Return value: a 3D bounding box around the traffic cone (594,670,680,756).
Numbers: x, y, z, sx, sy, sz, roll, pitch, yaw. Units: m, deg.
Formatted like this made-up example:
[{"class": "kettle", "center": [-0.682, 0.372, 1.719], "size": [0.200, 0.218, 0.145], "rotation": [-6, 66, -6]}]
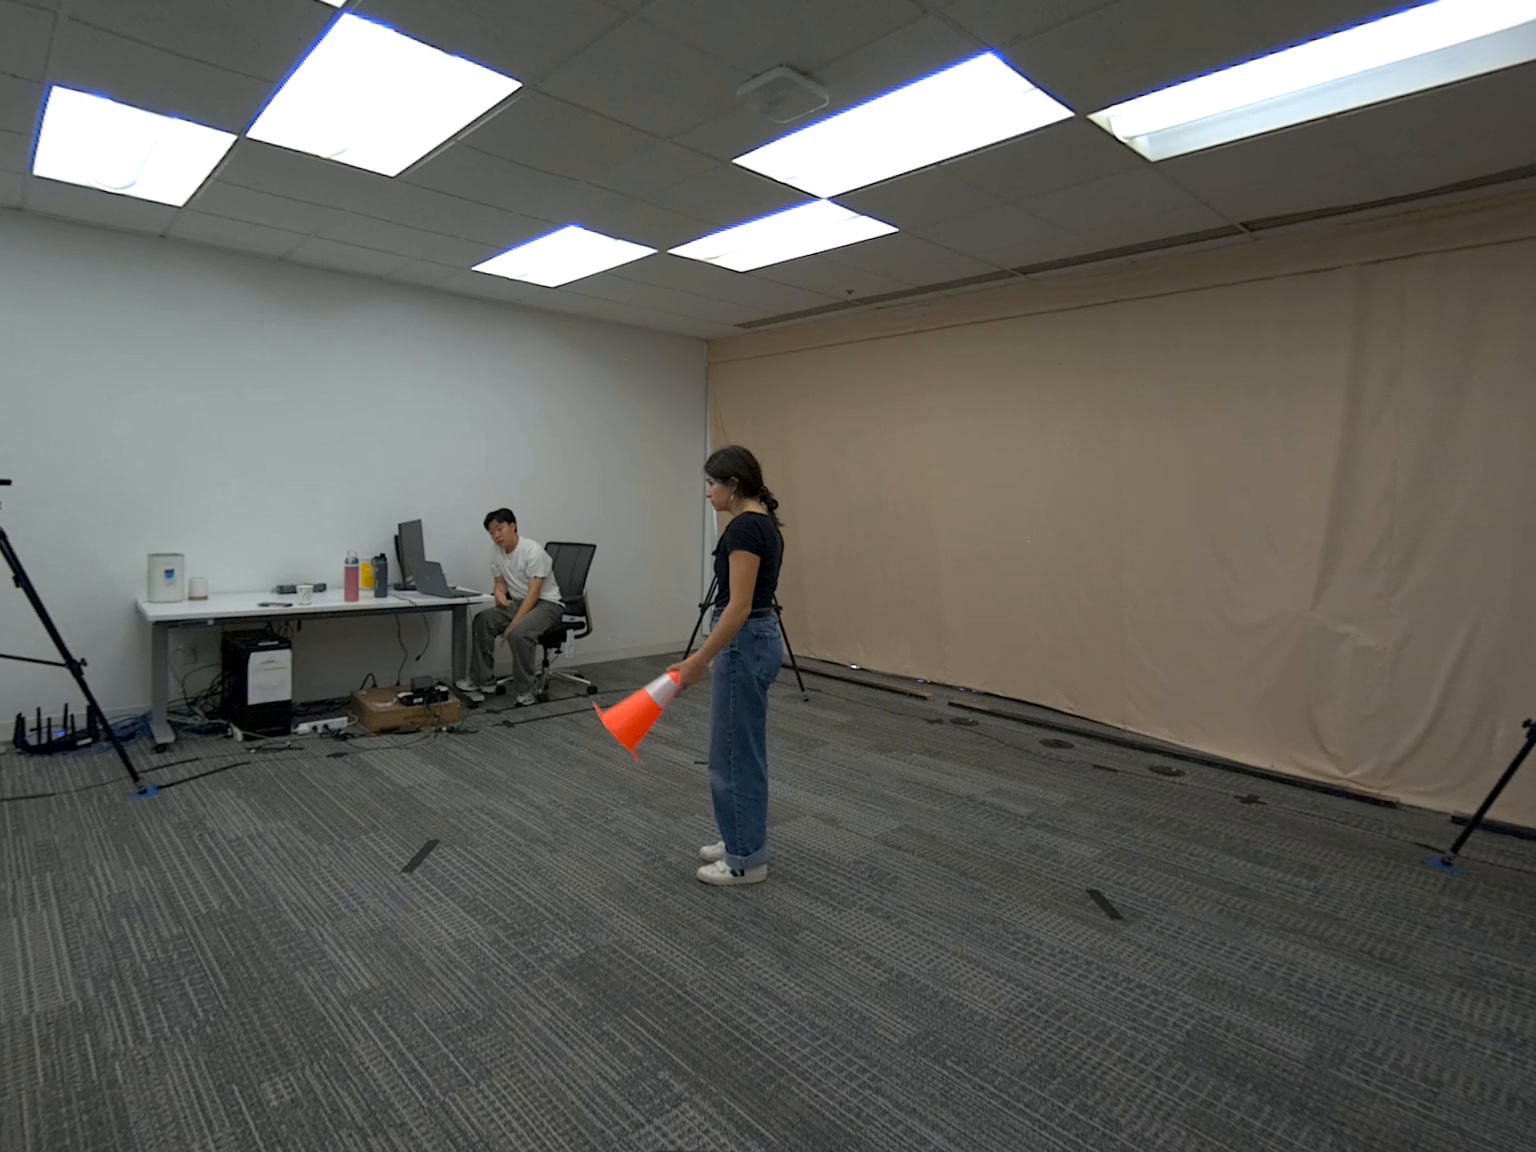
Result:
[{"class": "traffic cone", "center": [-0.350, 0.392, 2.852], "size": [0.383, 0.199, 0.209], "rotation": [-40, 21, -7]}]
